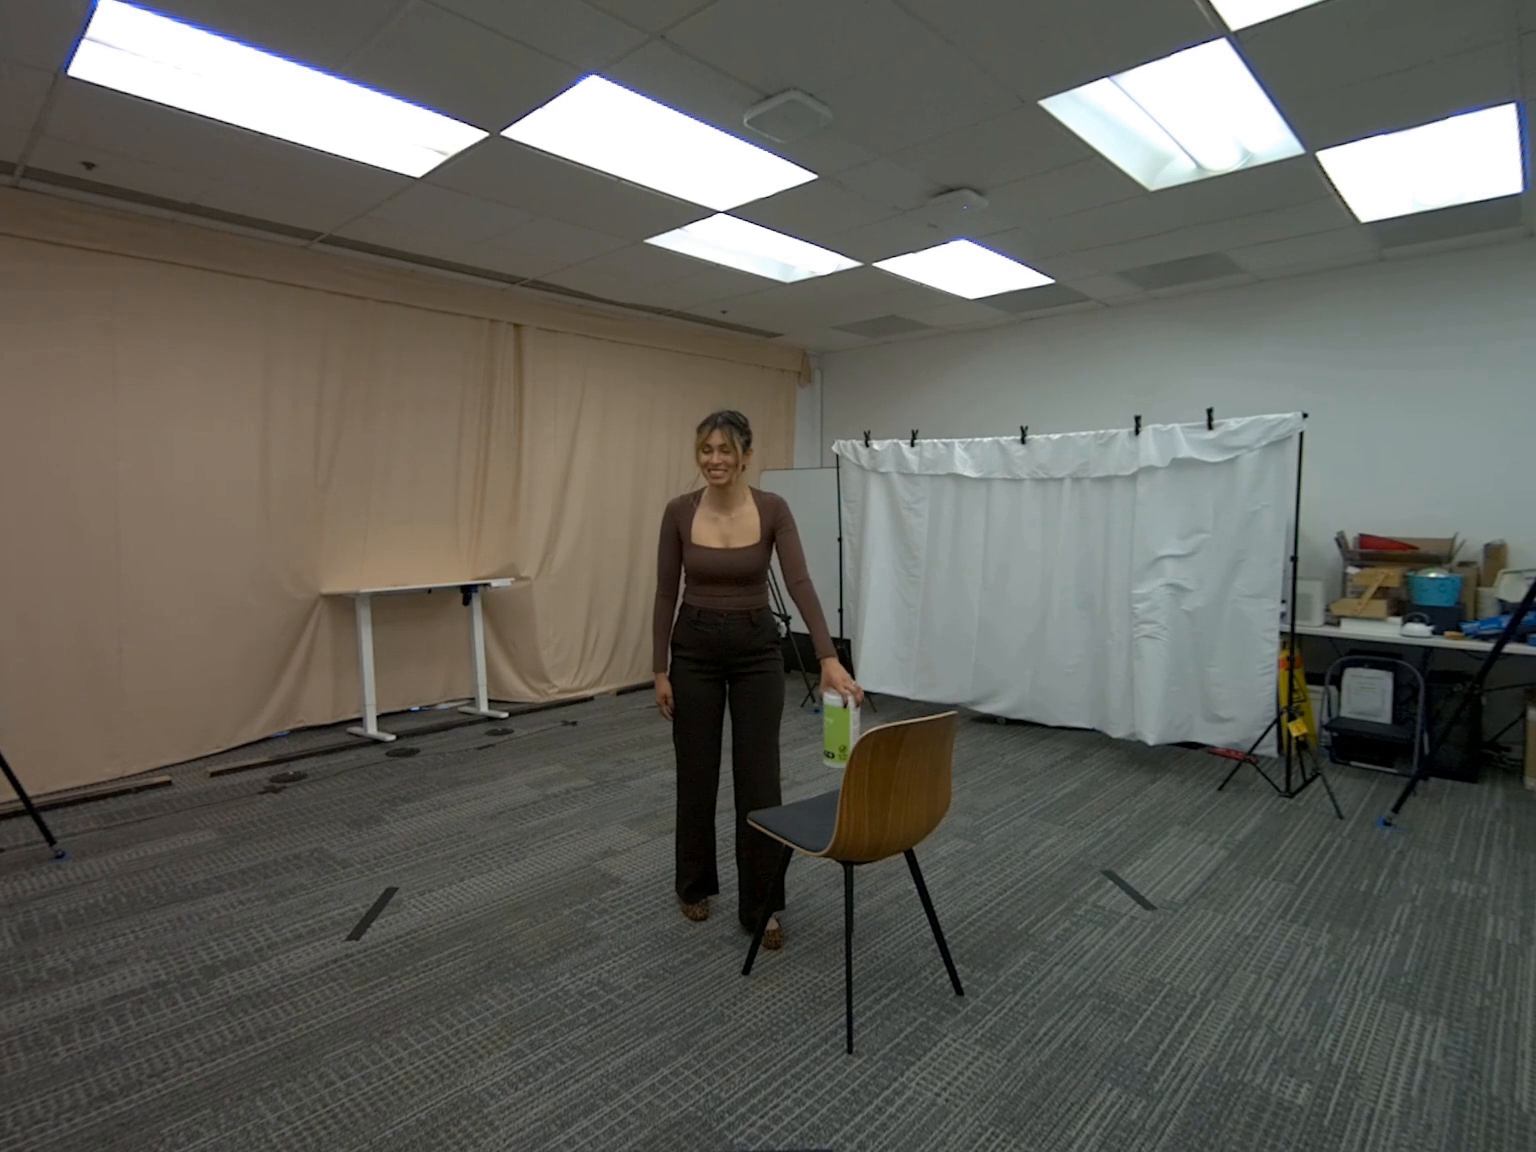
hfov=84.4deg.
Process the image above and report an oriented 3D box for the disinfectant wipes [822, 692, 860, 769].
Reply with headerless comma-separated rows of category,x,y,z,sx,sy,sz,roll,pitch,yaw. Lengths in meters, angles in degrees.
disinfectant wipes,0.221,0.451,2.474,0.118,0.217,0.118,-1,6,-2
